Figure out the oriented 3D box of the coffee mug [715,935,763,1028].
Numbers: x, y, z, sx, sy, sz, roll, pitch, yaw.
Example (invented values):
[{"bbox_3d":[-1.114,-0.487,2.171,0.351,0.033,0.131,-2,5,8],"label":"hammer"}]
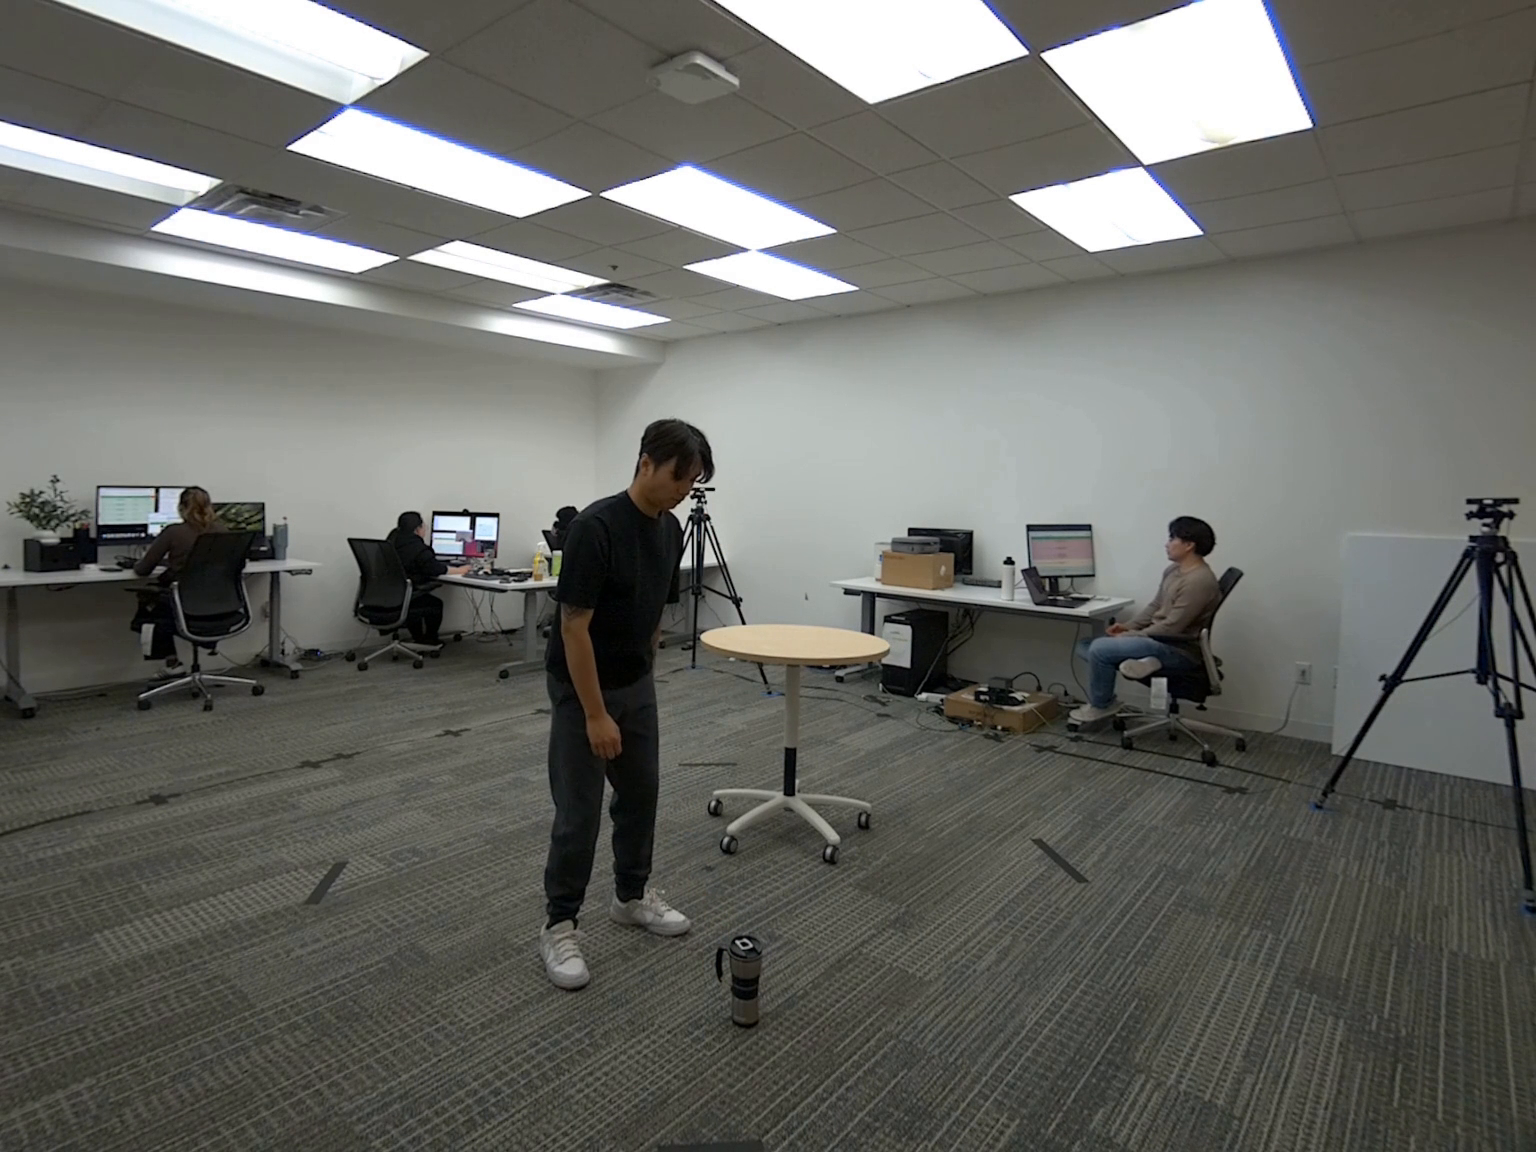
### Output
[{"bbox_3d":[-0.078,1.056,2.240,0.126,0.201,0.085,9,11,43],"label":"coffee mug"}]
